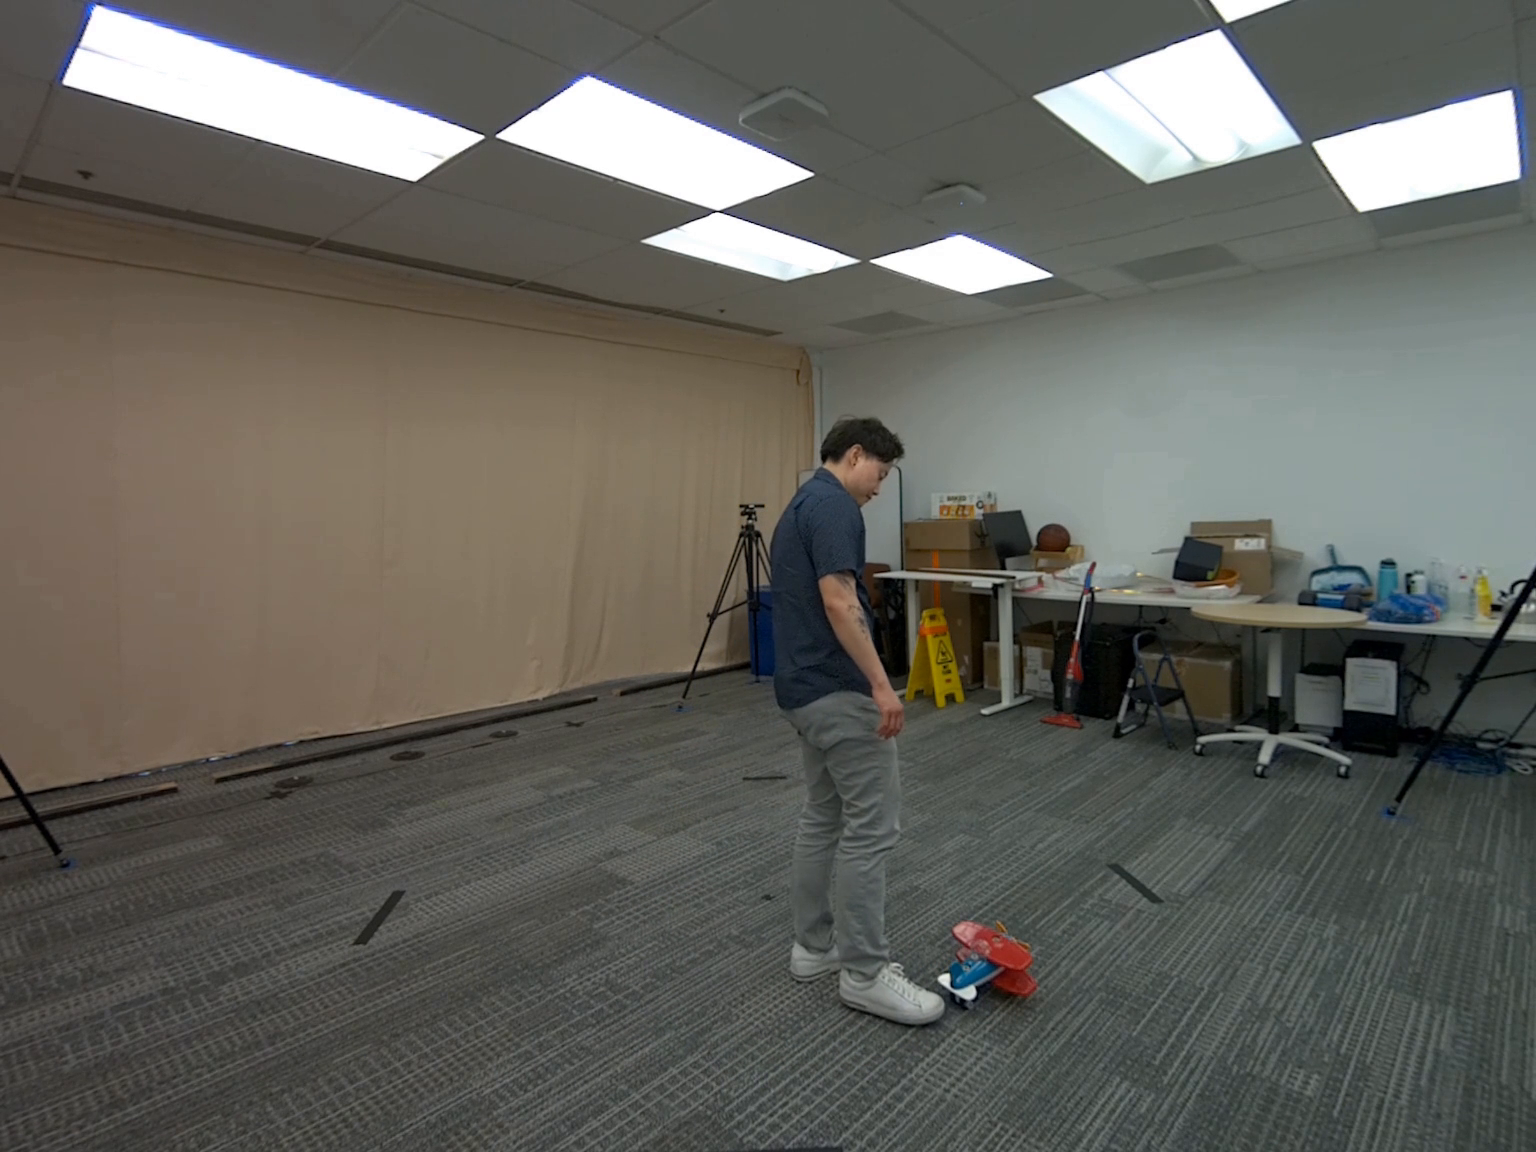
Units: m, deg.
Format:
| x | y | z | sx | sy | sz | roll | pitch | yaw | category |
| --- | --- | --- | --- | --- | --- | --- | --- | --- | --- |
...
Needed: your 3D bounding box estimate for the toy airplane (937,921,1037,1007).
| x | y | z | sx | sy | sz | roll | pitch | yaw | category |
| --- | --- | --- | --- | --- | --- | --- | --- | --- | --- |
| 0.631 | 1.116 | 2.347 | 0.258 | 0.156 | 0.252 | 4 | 5 | 30 | toy airplane |
